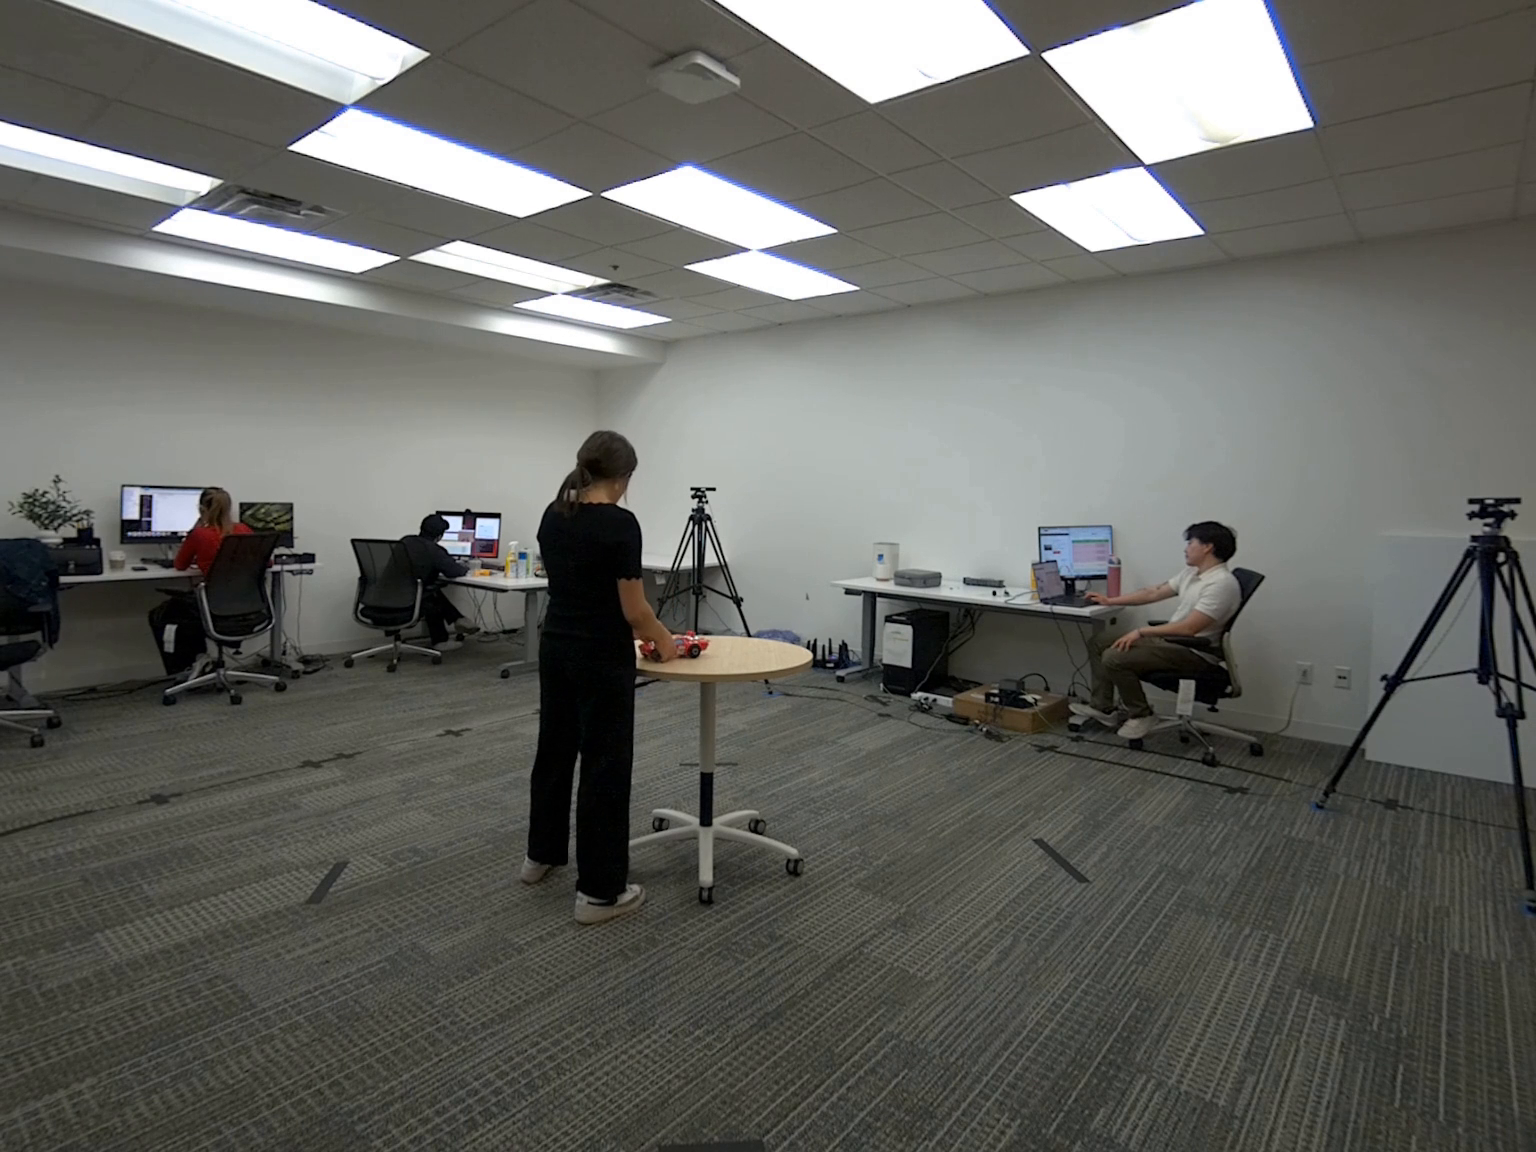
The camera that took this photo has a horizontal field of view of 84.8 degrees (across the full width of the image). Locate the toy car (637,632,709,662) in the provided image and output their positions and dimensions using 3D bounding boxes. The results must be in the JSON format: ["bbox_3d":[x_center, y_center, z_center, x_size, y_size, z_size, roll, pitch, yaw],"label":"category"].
[{"bbox_3d":[-0.337,0.255,3.043,0.250,0.082,0.134,-17,12,-26],"label":"toy car"}]
